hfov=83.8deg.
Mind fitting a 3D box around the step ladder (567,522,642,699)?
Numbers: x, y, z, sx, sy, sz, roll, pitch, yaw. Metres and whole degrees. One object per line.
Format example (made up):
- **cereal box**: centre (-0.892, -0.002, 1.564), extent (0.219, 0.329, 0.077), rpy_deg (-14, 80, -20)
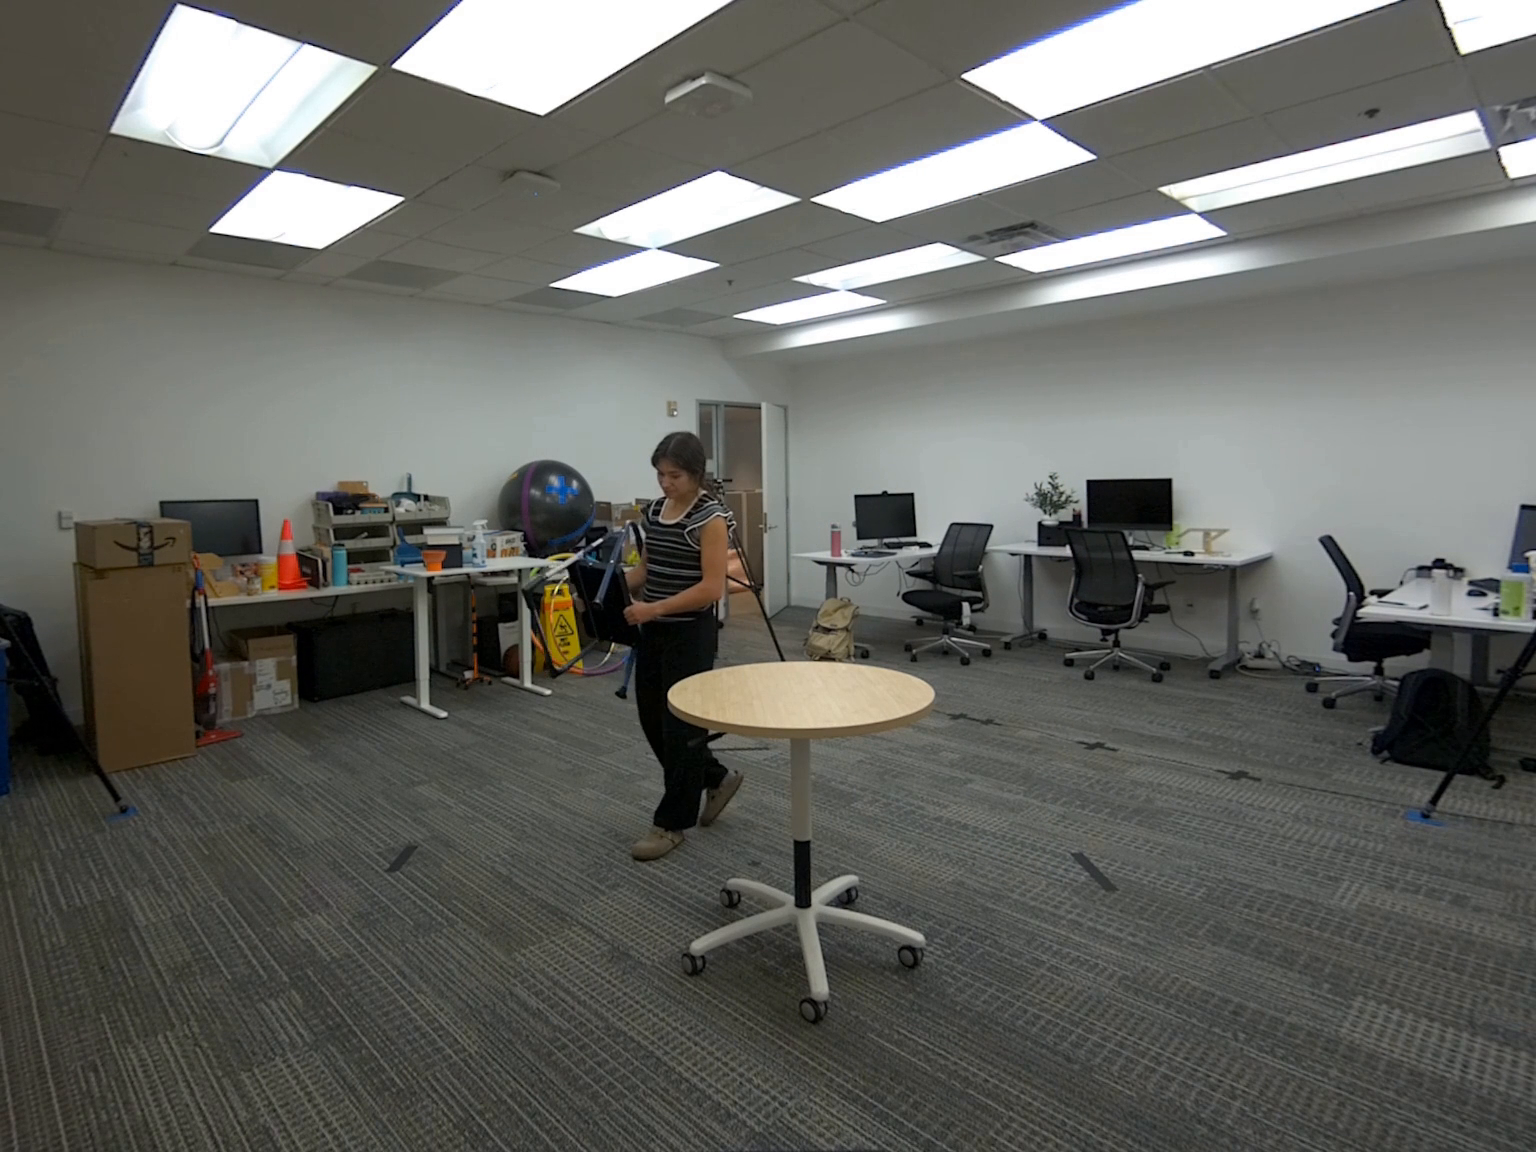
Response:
- **step ladder**: centre (-0.565, 0.070, 3.227), extent (0.358, 0.418, 0.608), rpy_deg (8, 37, 24)
